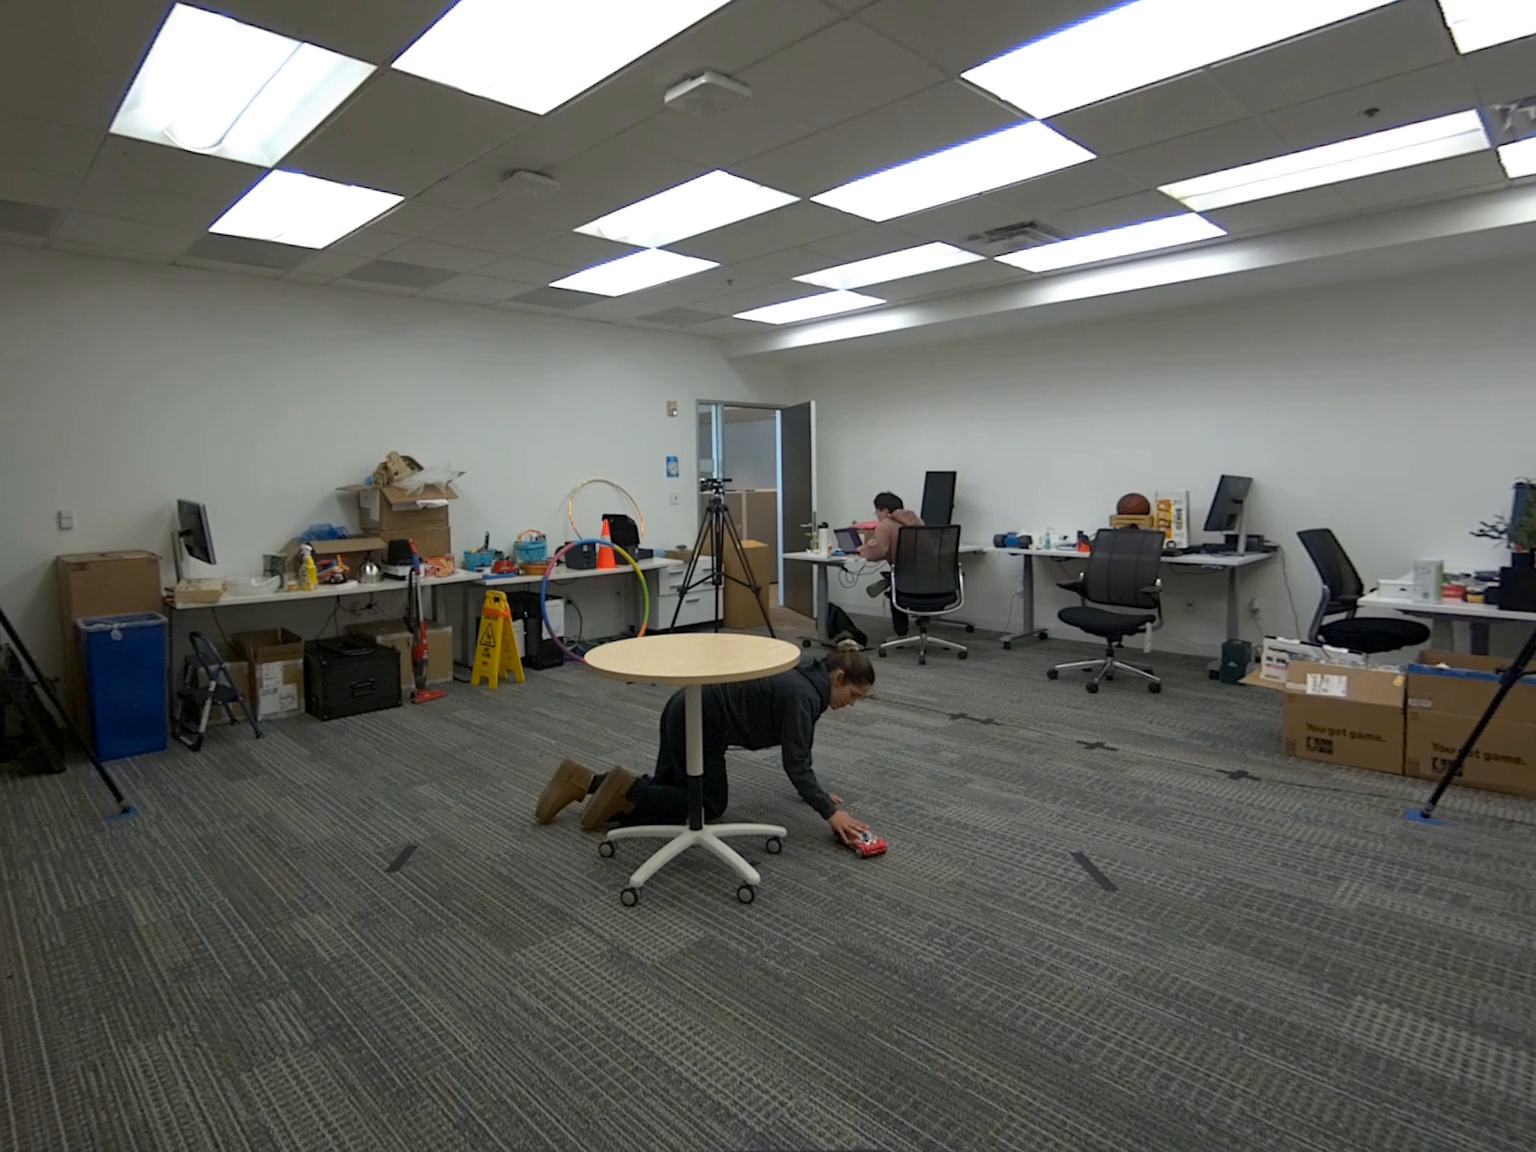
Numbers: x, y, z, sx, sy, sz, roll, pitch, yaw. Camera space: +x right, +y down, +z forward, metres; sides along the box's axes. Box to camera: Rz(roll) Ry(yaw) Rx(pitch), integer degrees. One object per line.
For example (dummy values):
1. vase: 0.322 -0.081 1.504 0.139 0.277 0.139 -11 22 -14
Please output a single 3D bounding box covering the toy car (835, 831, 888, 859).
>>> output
1. toy car: 0.339 0.994 3.229 0.127 0.082 0.263 -3 17 -25
